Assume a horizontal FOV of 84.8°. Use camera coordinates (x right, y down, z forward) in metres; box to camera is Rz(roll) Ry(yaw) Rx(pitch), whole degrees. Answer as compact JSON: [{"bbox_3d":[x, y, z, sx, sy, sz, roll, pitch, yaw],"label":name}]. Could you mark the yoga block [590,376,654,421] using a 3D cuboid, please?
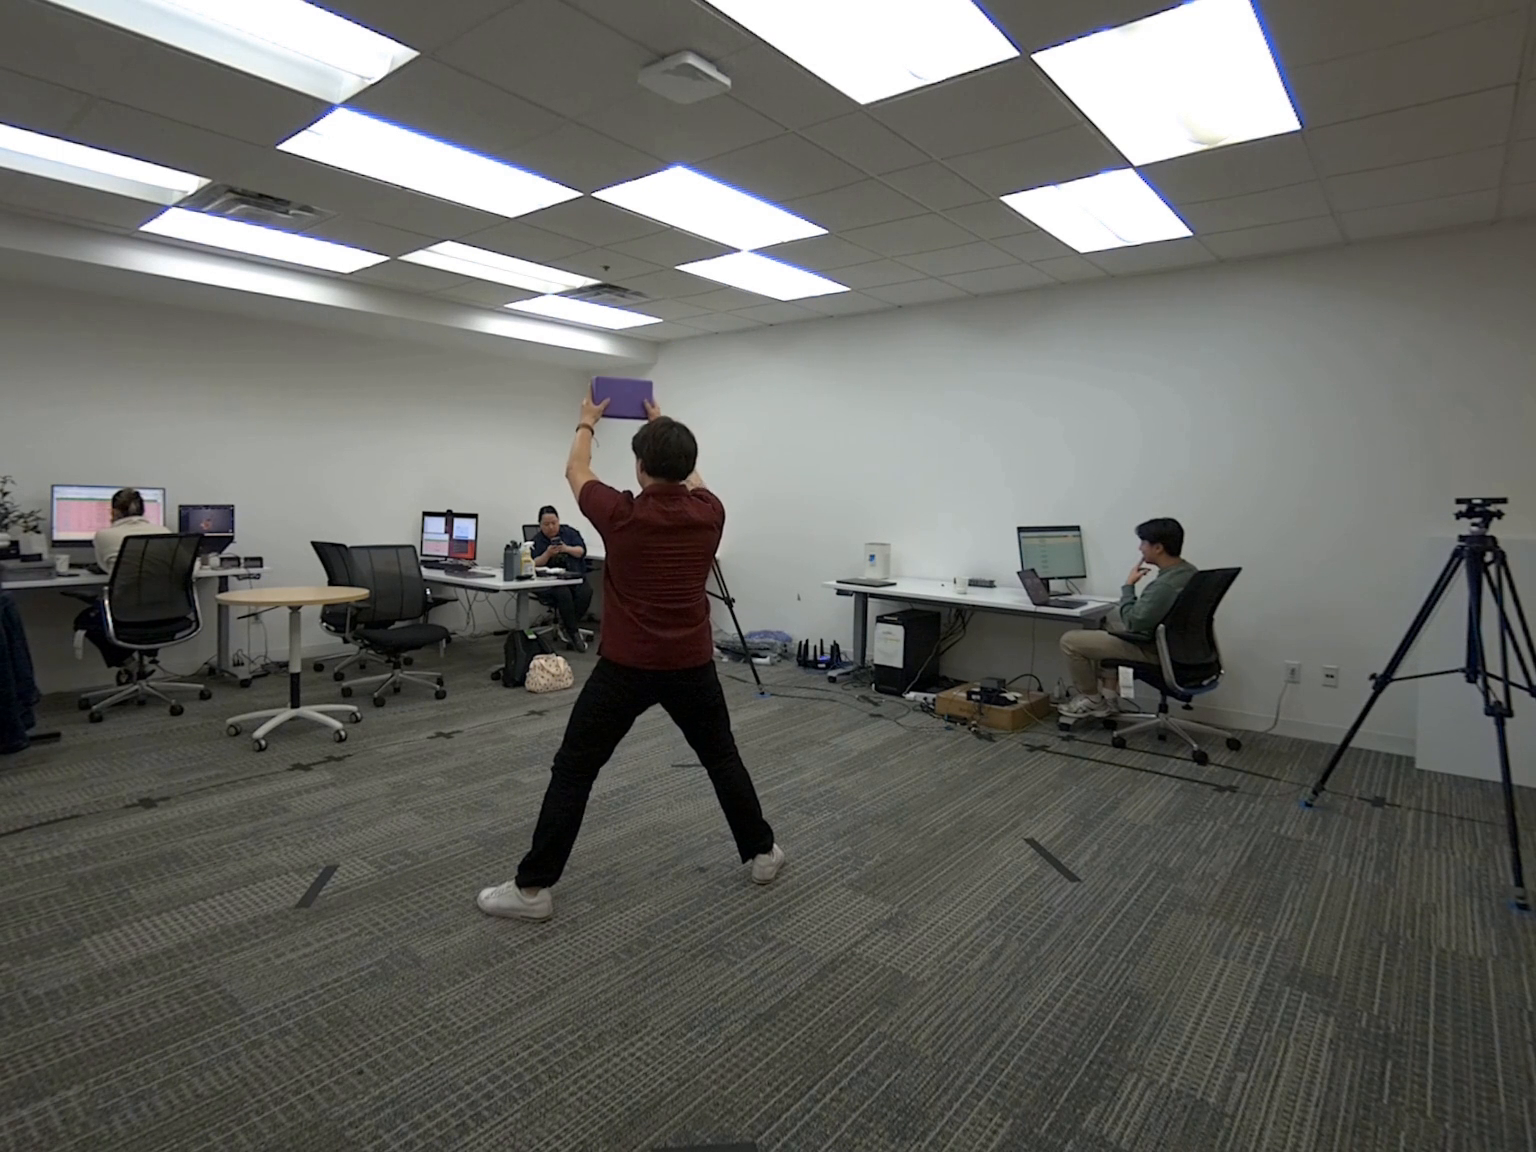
[{"bbox_3d":[-0.559,-0.655,3.186,0.223,0.148,0.079,-1,6,-28],"label":"yoga block"}]
